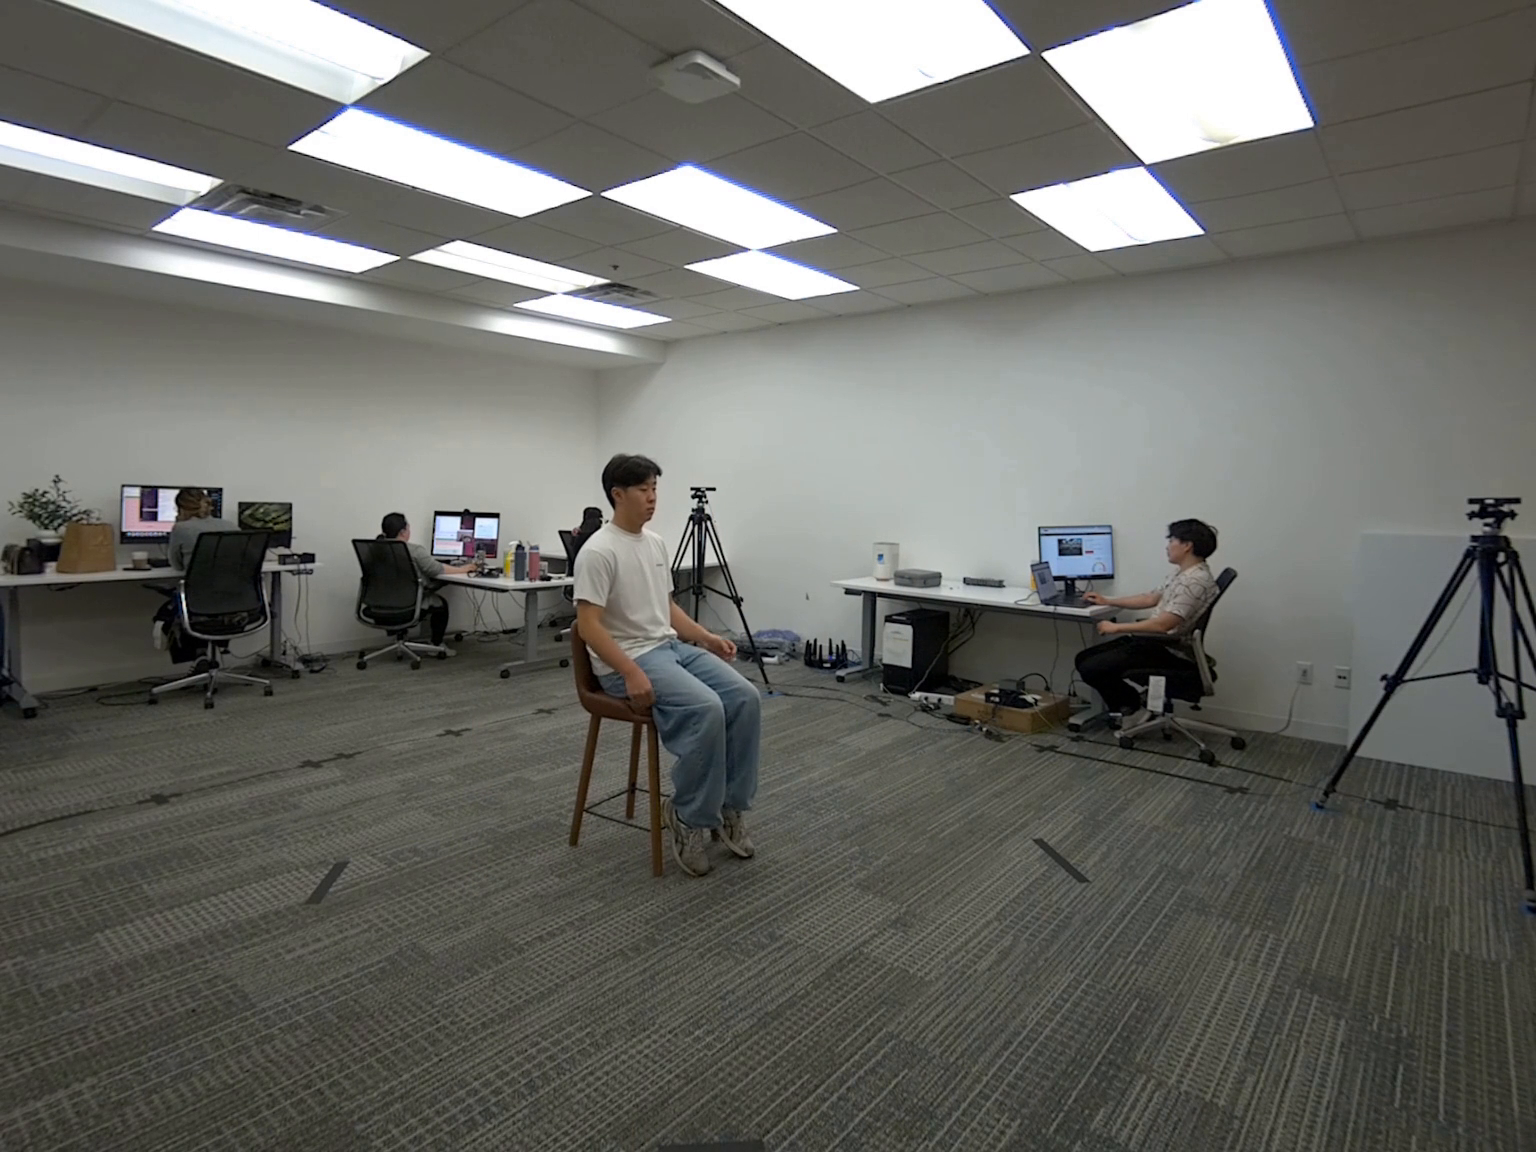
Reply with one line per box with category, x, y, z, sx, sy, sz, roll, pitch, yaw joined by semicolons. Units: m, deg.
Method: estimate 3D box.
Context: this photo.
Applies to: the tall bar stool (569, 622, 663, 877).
tall bar stool;-0.501;0.605;3.314;0.481;0.889;0.444;0;1;31
